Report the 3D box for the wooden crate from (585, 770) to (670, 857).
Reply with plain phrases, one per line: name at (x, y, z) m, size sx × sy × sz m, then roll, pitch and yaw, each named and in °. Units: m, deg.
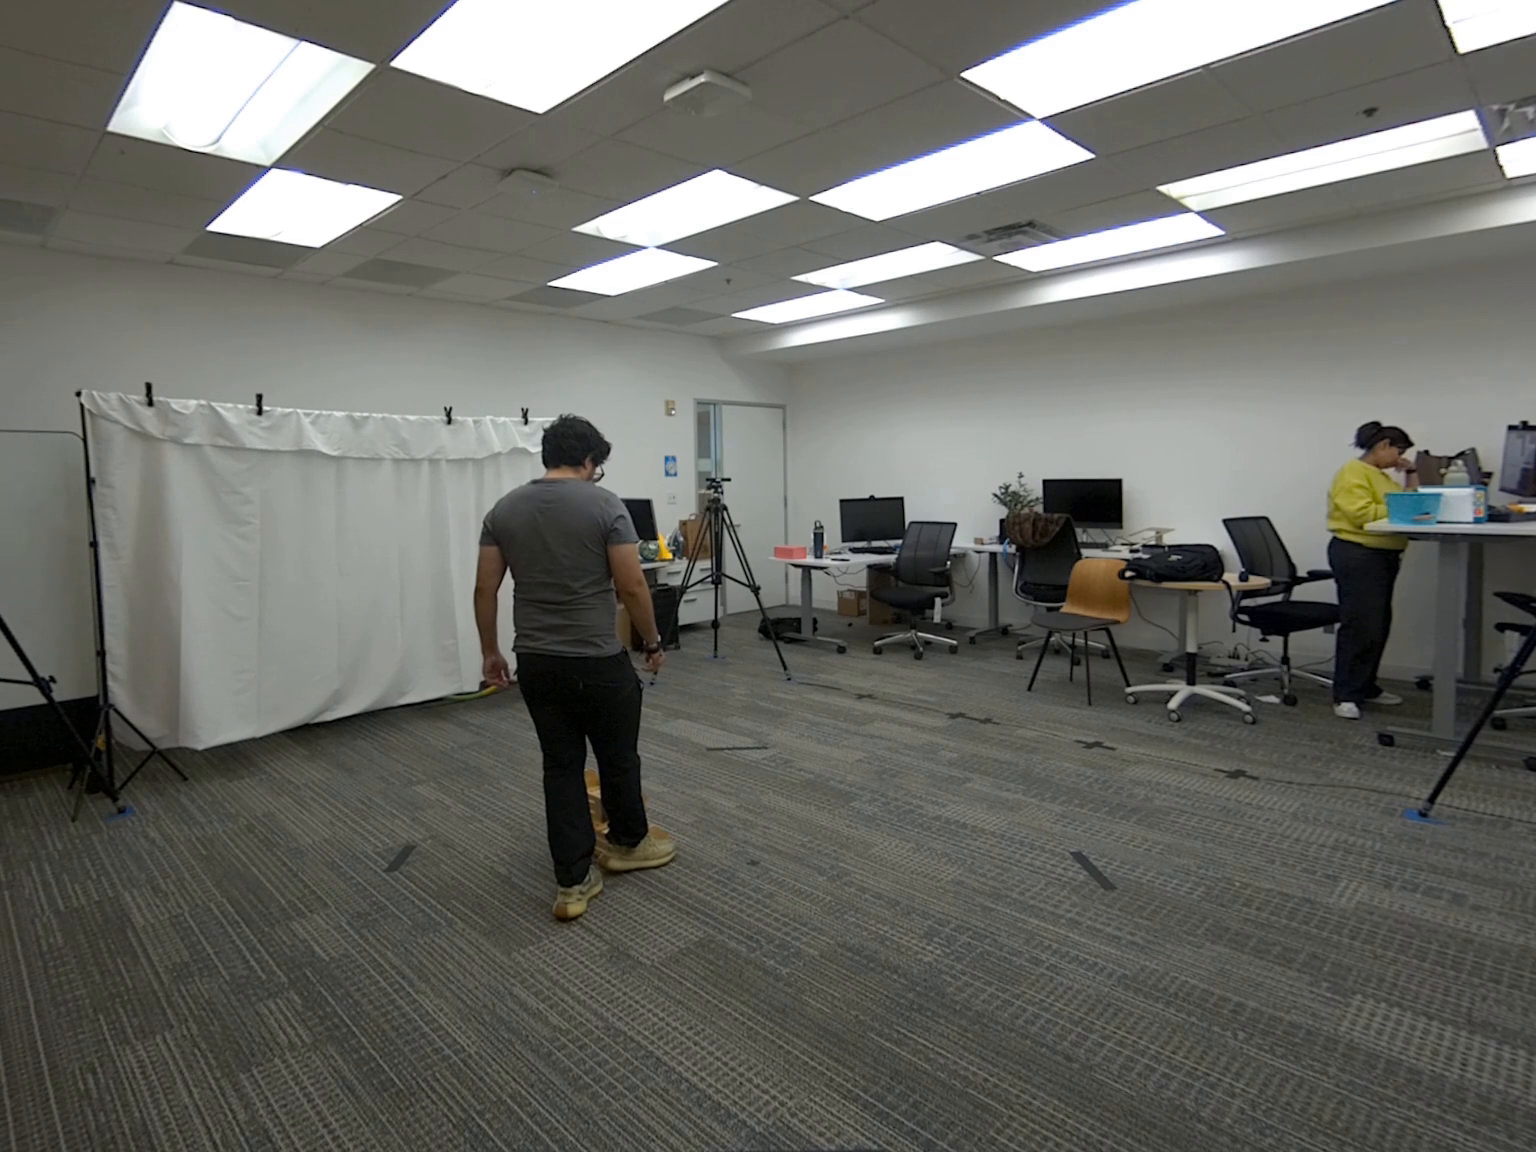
wooden crate at (-0.597, 0.900, 3.279) m, size 0.294 × 0.272 × 0.334 m, roll -7°, pitch 8°, yaw -44°
